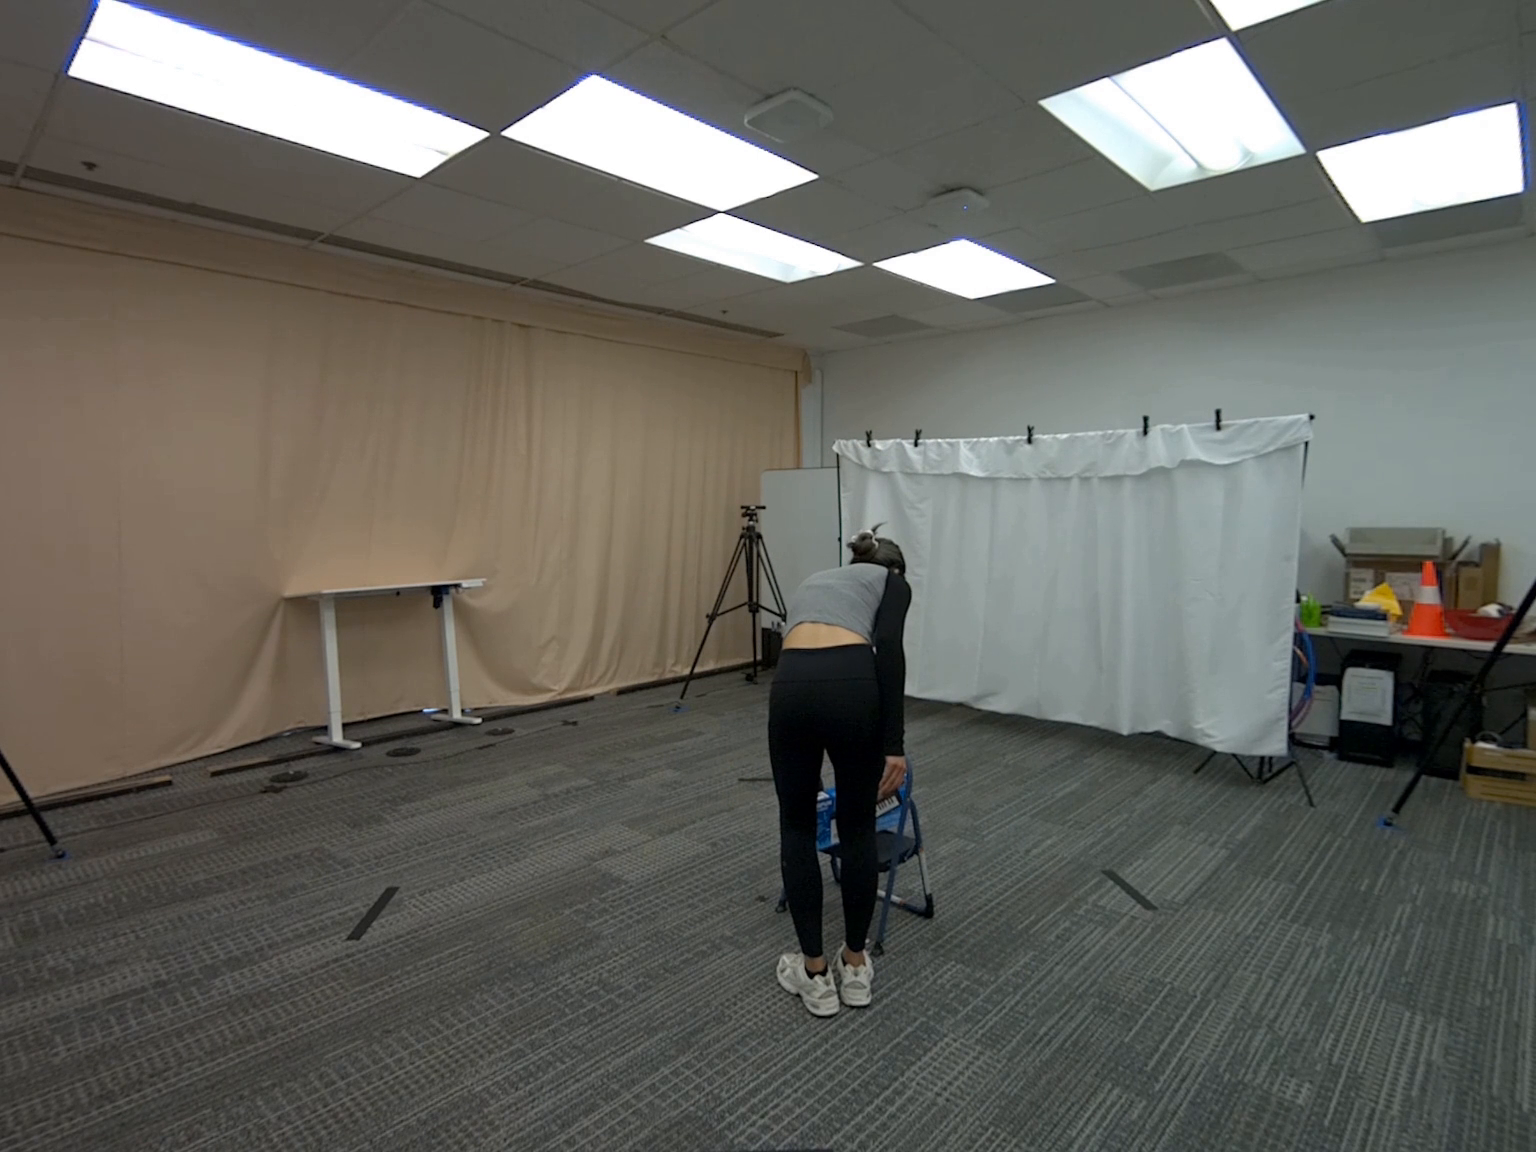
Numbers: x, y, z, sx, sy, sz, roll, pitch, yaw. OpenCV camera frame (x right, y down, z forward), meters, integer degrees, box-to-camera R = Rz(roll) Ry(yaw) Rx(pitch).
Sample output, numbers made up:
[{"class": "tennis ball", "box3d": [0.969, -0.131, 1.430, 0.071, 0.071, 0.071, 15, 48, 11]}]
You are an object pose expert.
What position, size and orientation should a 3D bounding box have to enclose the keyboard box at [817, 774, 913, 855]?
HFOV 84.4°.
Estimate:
[{"class": "keyboard box", "box3d": [0.298, 0.797, 2.855, 0.426, 0.175, 0.061, -6, 7, -29]}]
